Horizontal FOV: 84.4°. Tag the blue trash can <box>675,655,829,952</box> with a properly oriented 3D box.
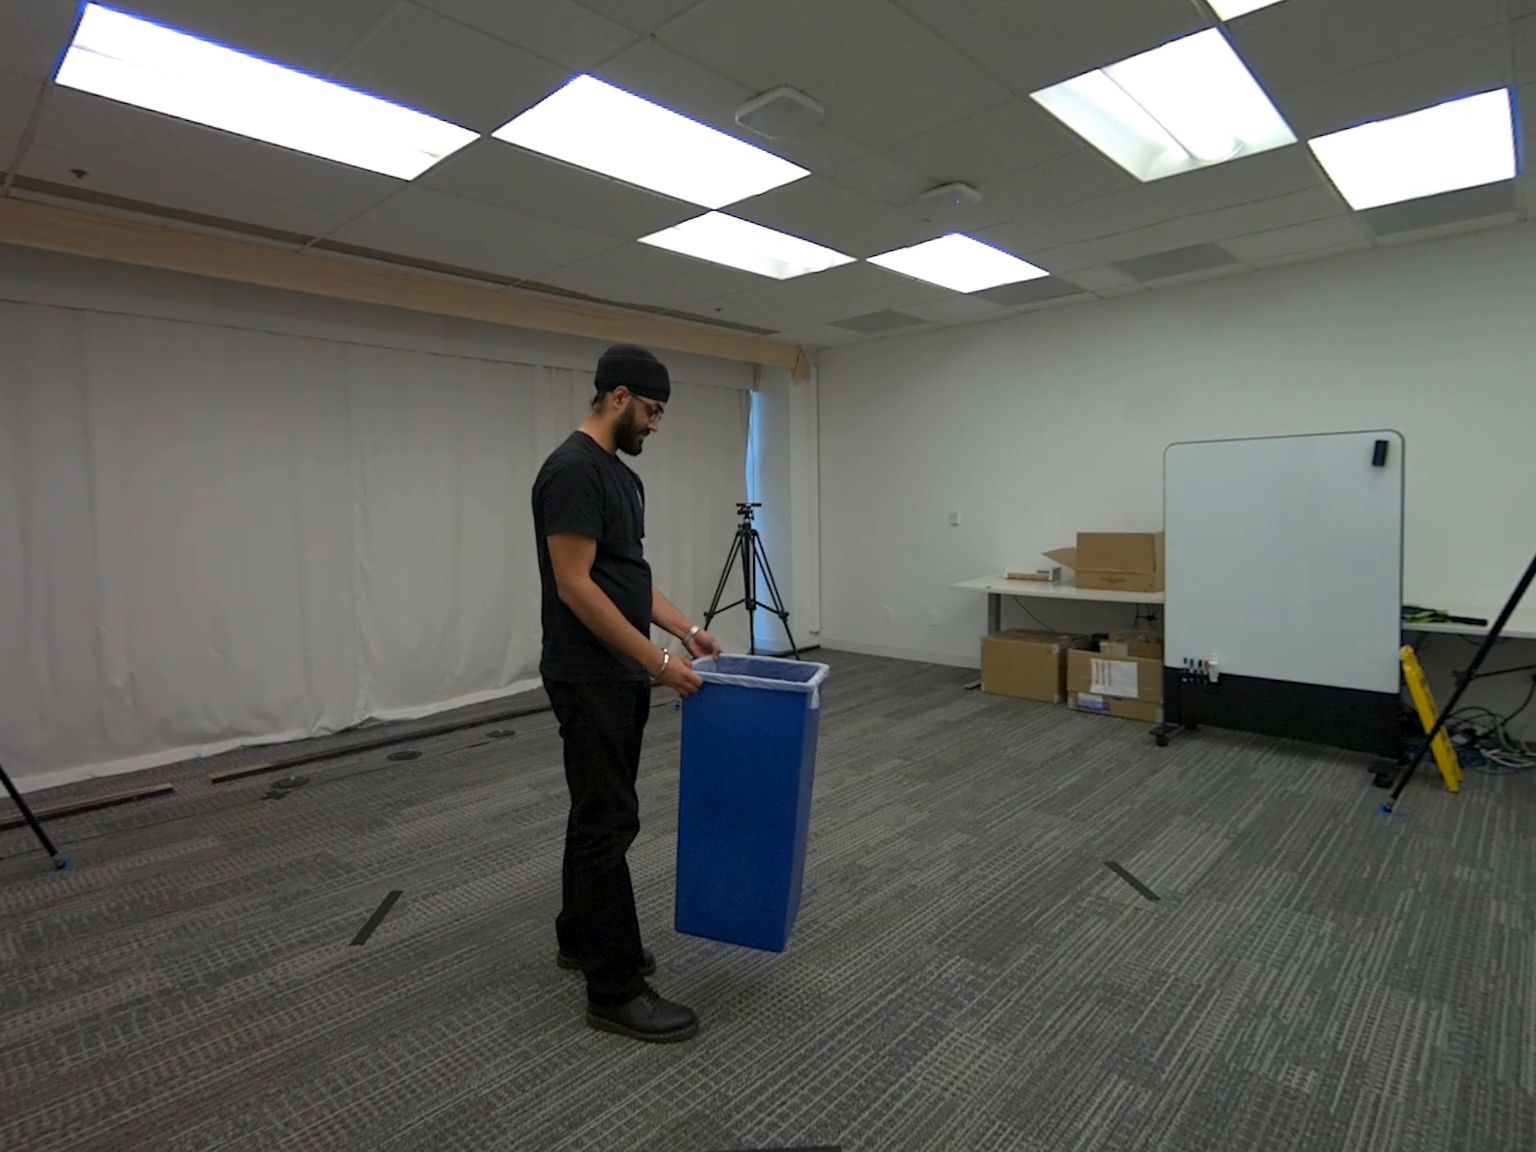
[{"bbox_3d":[-0.057,0.612,2.347,0.380,0.713,0.373,5,2,12],"label":"blue trash can"}]
